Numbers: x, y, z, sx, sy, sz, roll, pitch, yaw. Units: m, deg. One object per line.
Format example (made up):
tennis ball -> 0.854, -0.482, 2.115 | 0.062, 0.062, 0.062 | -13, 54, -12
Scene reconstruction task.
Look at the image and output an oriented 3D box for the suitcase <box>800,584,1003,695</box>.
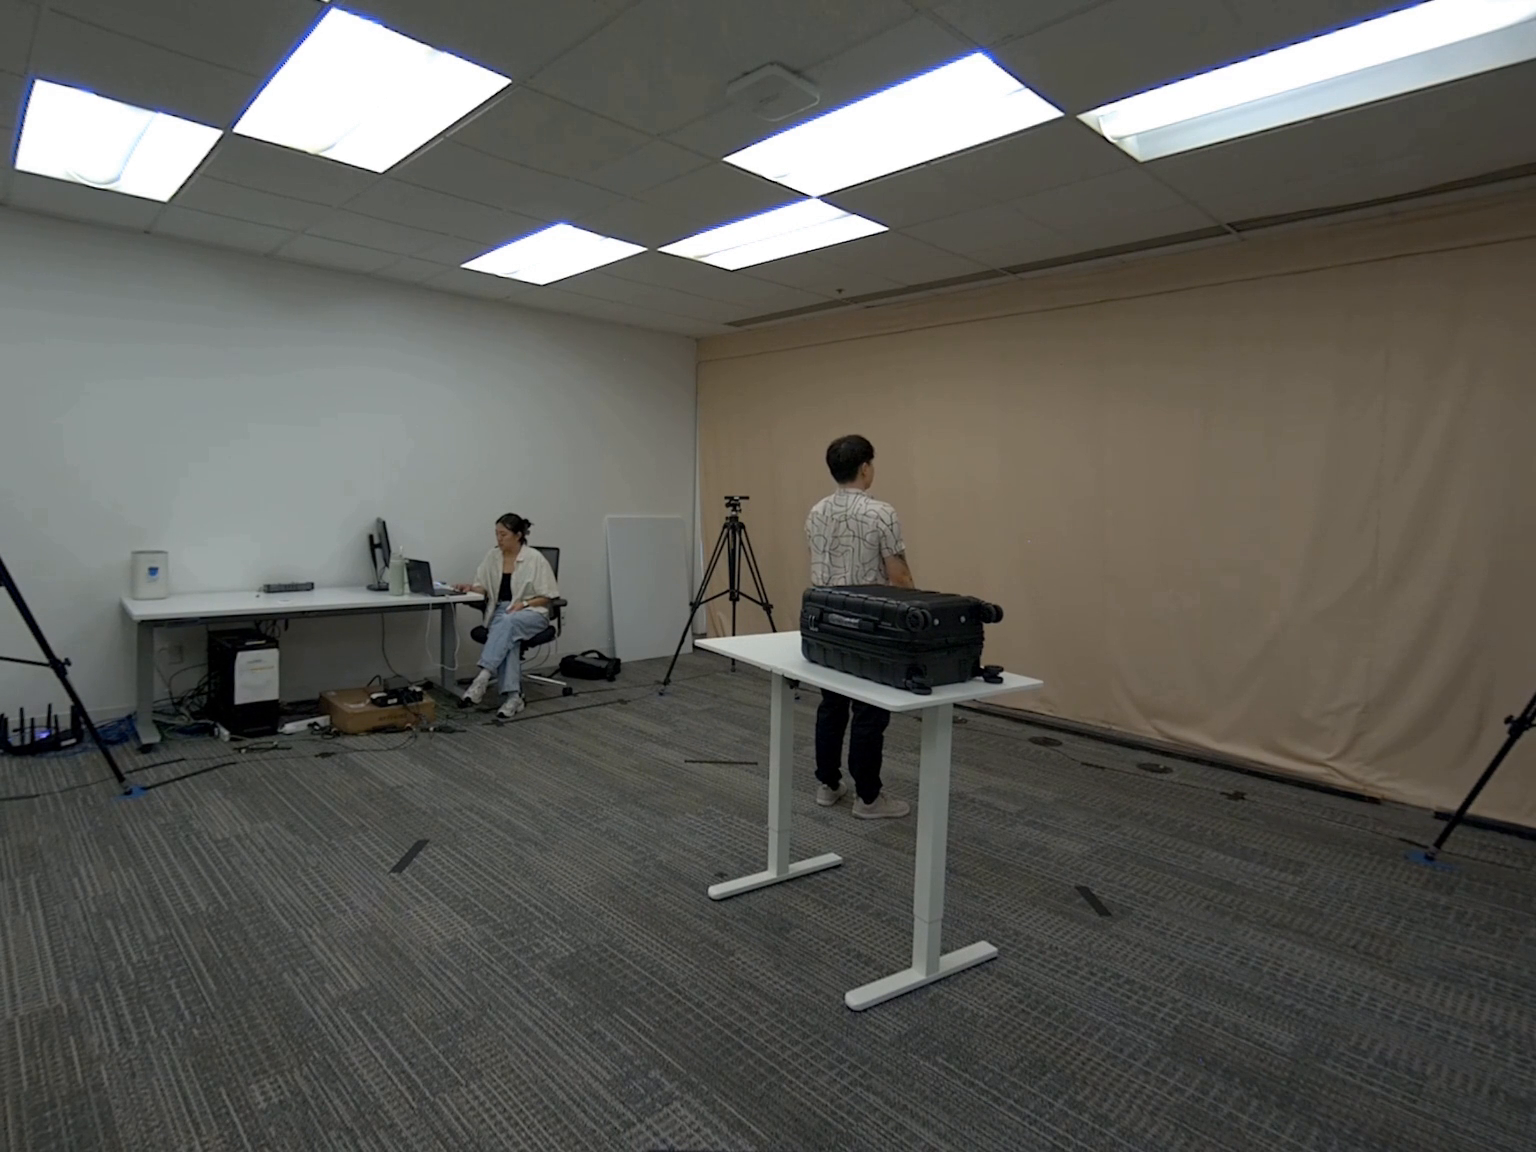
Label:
suitcase -> 0.357, 0.172, 2.533 | 0.367, 0.247, 0.563 | -3, 7, -36
